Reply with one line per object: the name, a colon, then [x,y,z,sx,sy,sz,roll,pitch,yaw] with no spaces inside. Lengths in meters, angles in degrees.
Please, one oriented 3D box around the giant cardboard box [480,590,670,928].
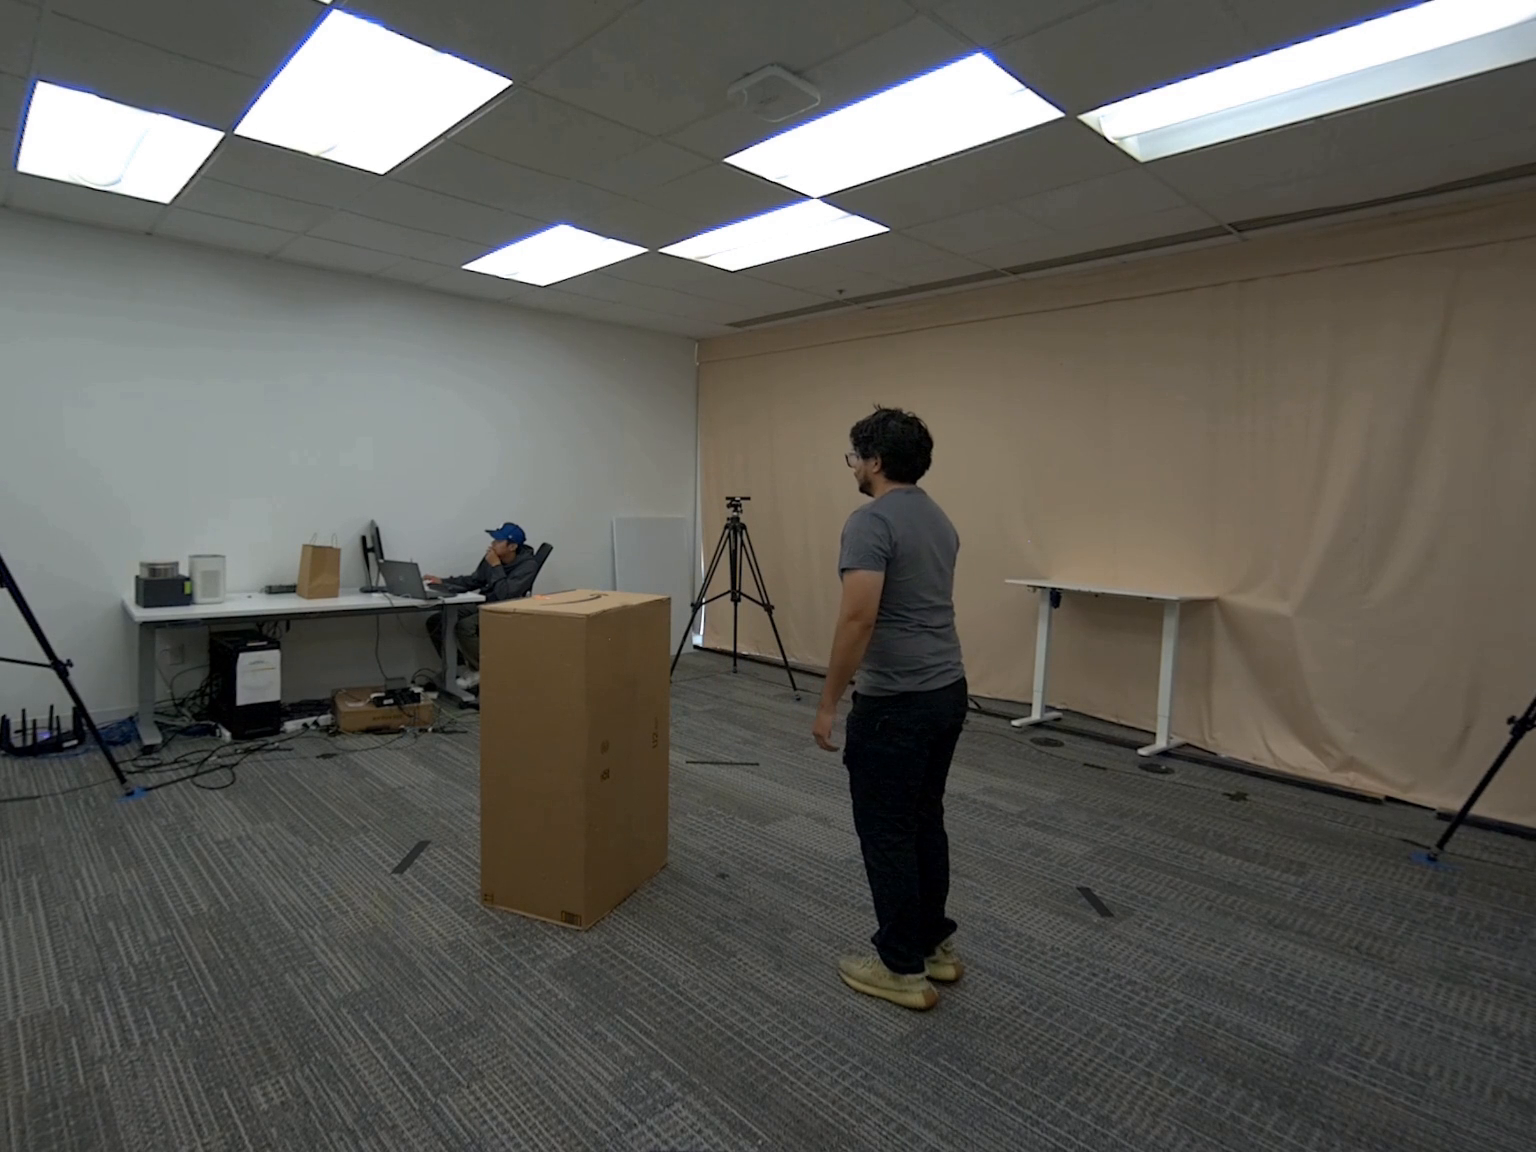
giant cardboard box: [-0.677,0.598,2.998,0.455,1.024,0.575,3,4,22]
